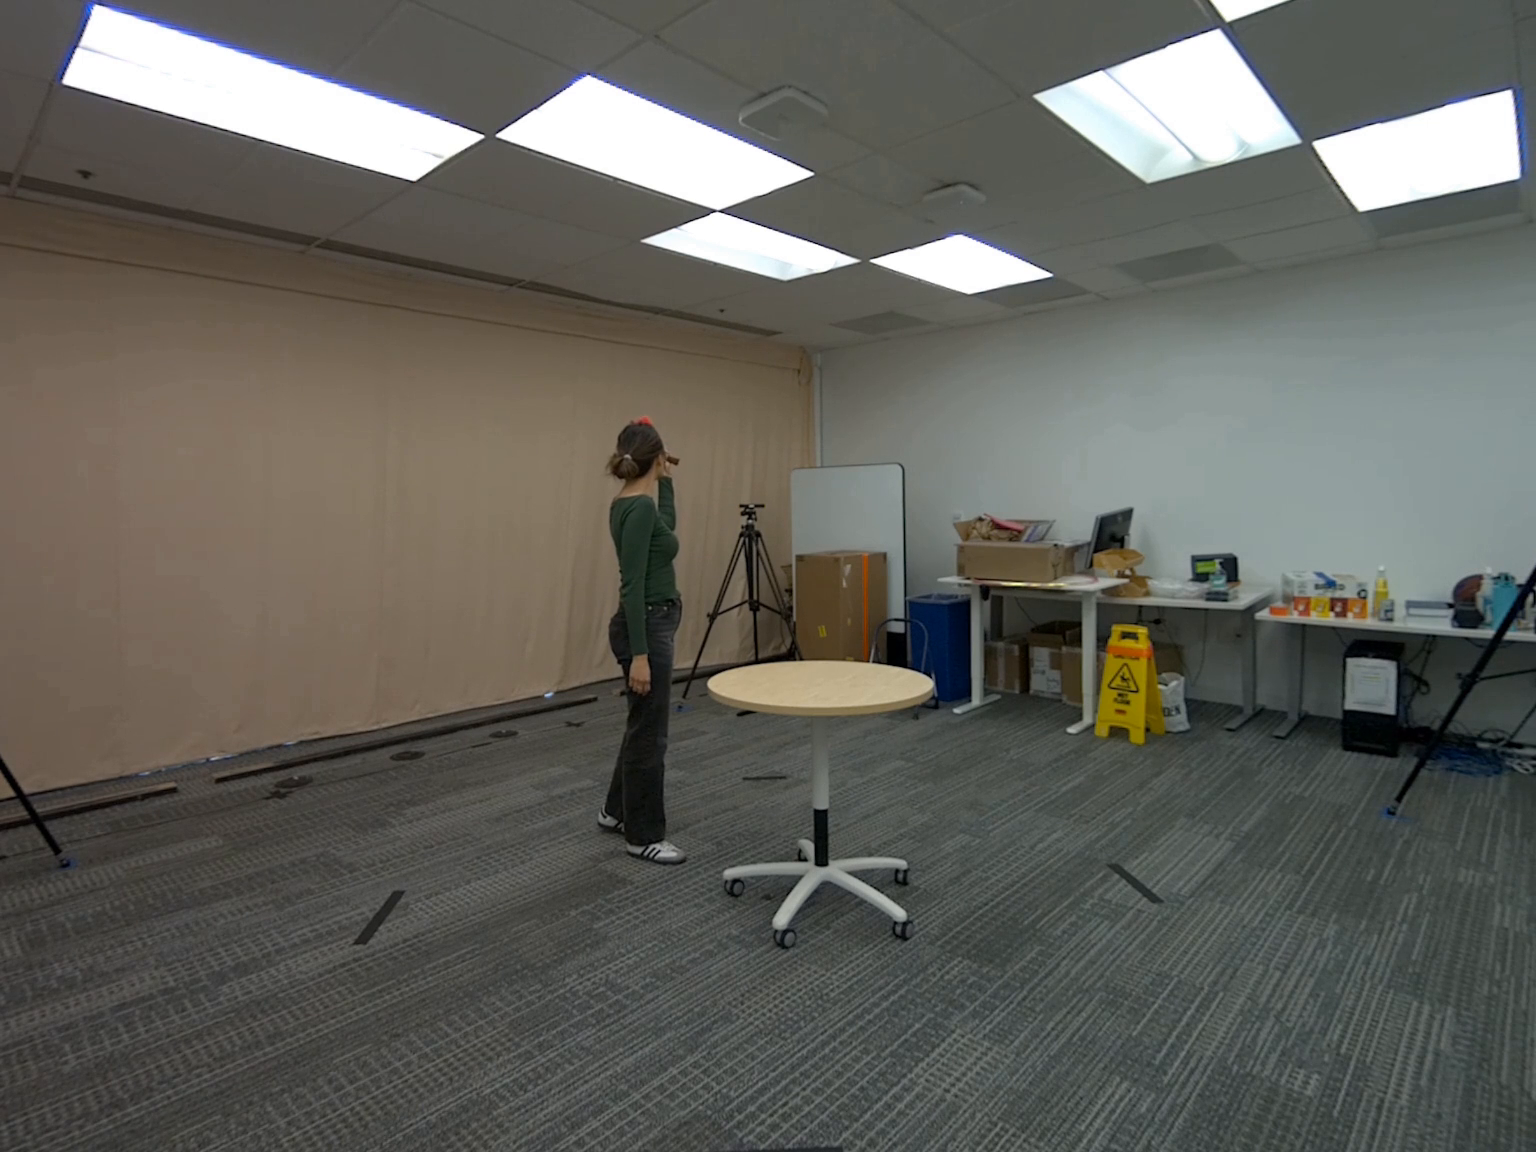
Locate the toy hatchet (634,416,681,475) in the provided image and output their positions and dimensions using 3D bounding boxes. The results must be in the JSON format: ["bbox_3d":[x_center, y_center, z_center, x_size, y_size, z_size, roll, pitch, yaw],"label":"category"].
[{"bbox_3d":[-0.498,-0.603,3.673,0.270,0.131,0.029,31,24,0],"label":"toy hatchet"}]
